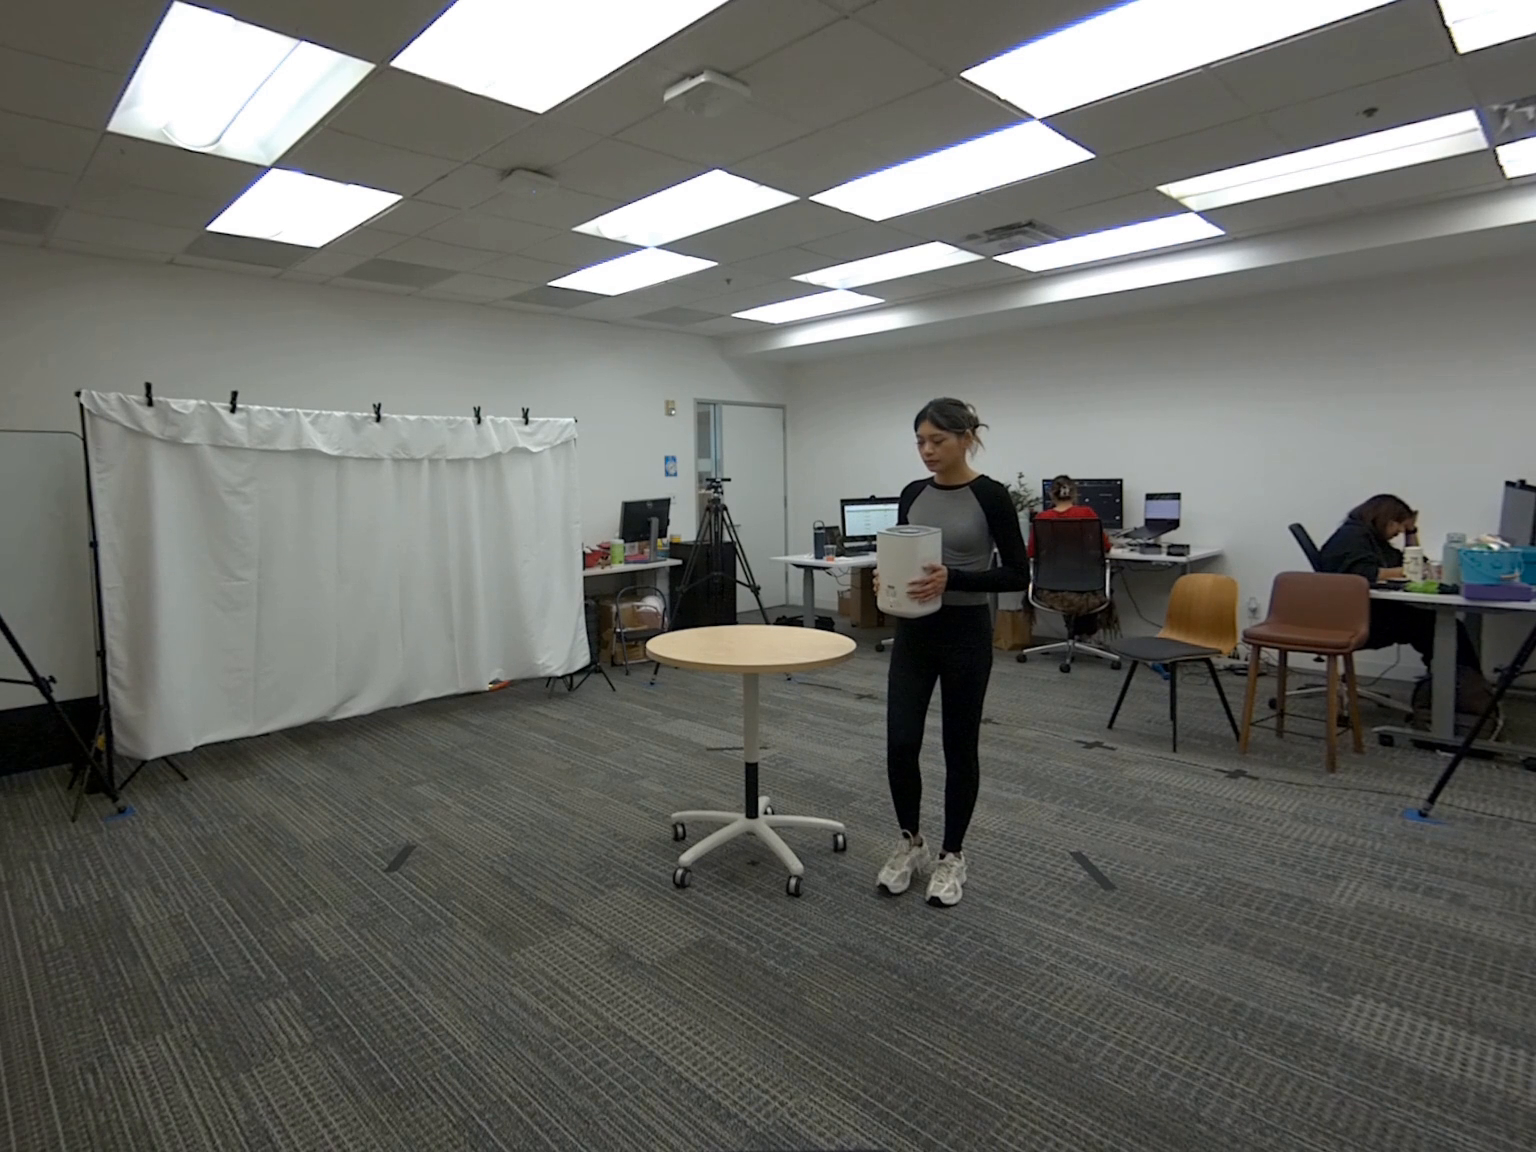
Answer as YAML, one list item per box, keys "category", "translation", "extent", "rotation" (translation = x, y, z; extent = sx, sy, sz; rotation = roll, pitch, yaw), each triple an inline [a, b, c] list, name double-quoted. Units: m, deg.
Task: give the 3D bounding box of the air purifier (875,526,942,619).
- category: "air purifier"
  translation: [0.442, -0.015, 2.703]
  extent: [0.167, 0.263, 0.177]
  rotation: [-11, 15, -43]
